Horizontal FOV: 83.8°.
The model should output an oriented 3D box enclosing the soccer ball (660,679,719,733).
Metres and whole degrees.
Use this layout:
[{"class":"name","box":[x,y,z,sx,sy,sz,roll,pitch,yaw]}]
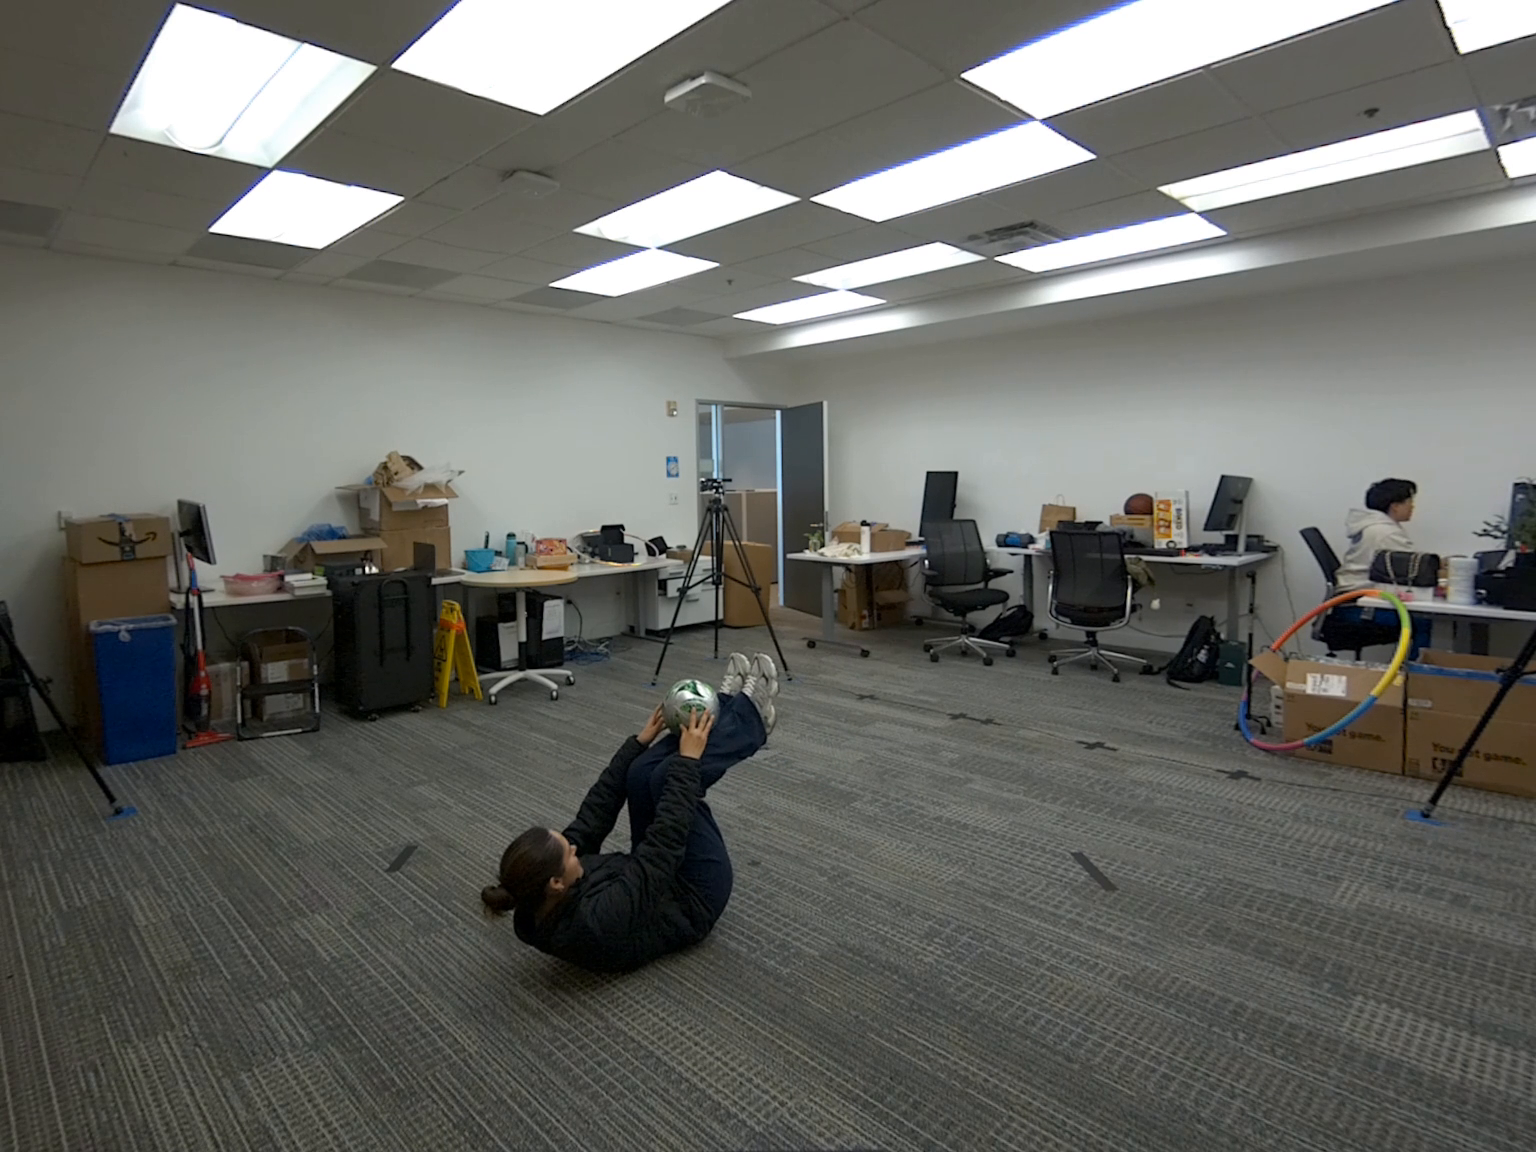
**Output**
[{"class":"soccer ball","box":[-0.237,0.425,2.726,0.187,0.187,0.188,0,1,-2]}]
